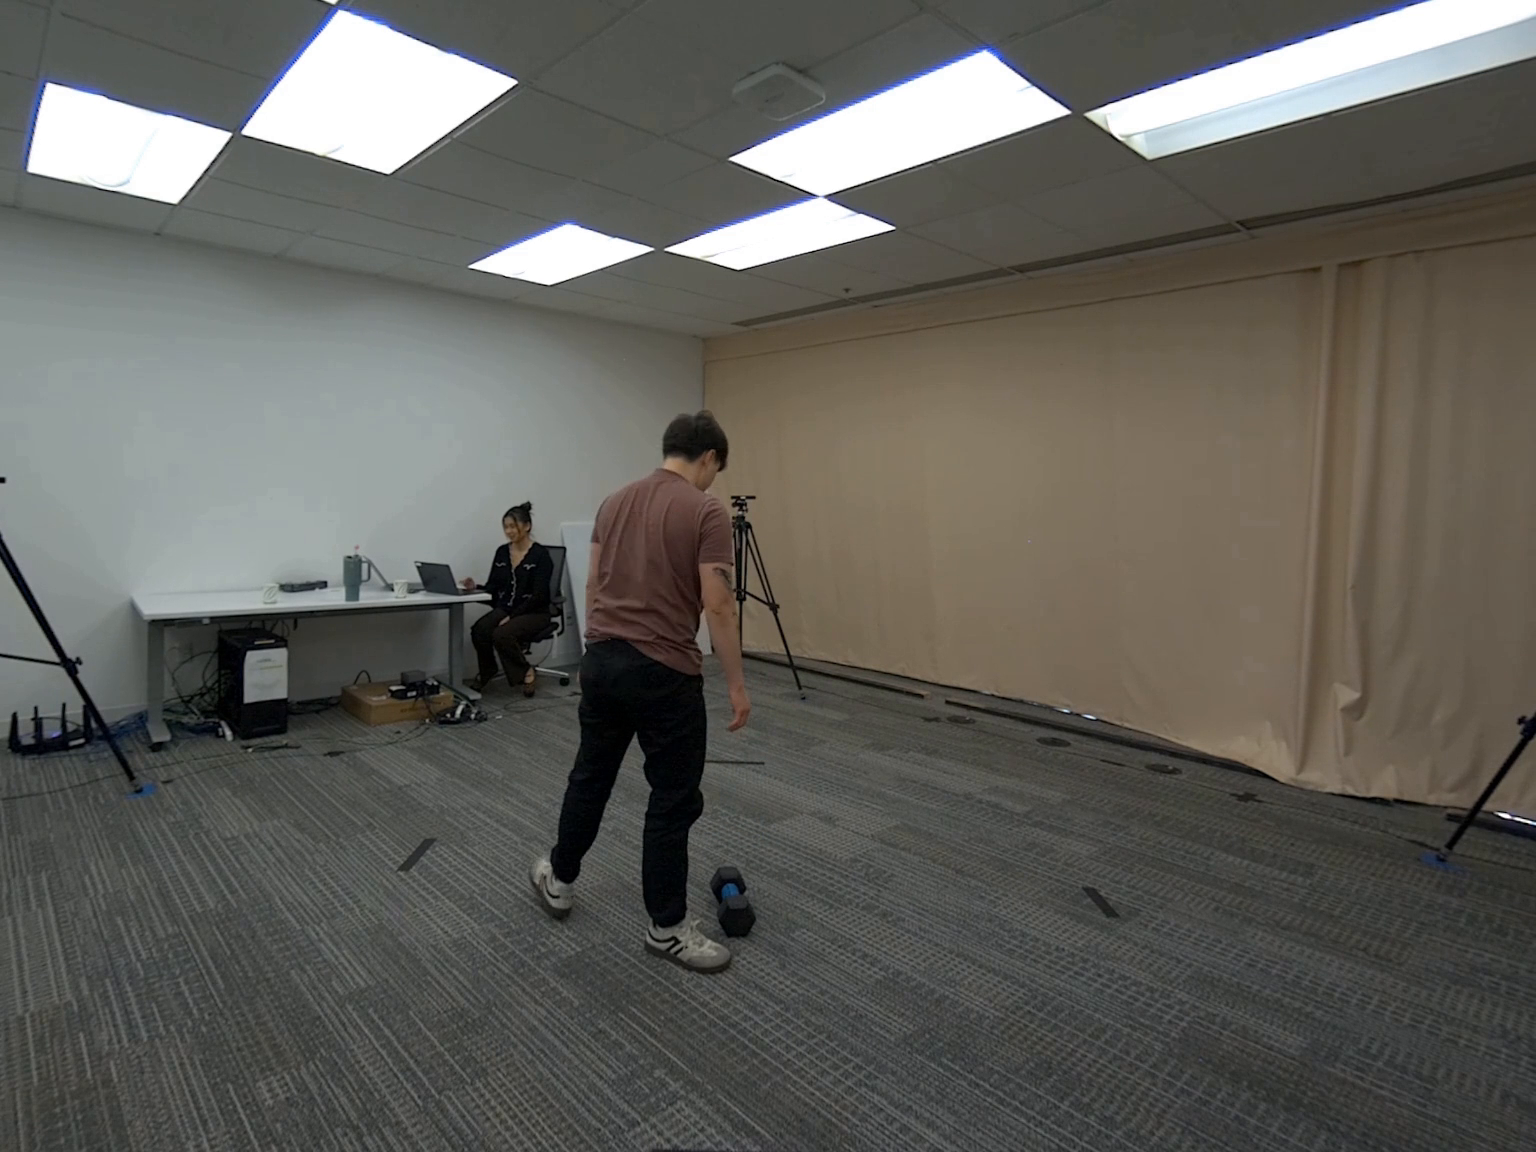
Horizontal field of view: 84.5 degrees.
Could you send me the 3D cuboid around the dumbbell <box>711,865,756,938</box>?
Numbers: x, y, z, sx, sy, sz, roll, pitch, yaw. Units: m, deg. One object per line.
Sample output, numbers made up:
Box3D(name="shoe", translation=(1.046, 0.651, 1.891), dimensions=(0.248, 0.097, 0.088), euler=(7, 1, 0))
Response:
Box3D(name="dumbbell", translation=(-0.124, 1.080, 2.791), dimensions=(0.107, 0.123, 0.296), euler=(31, -1, -11))
